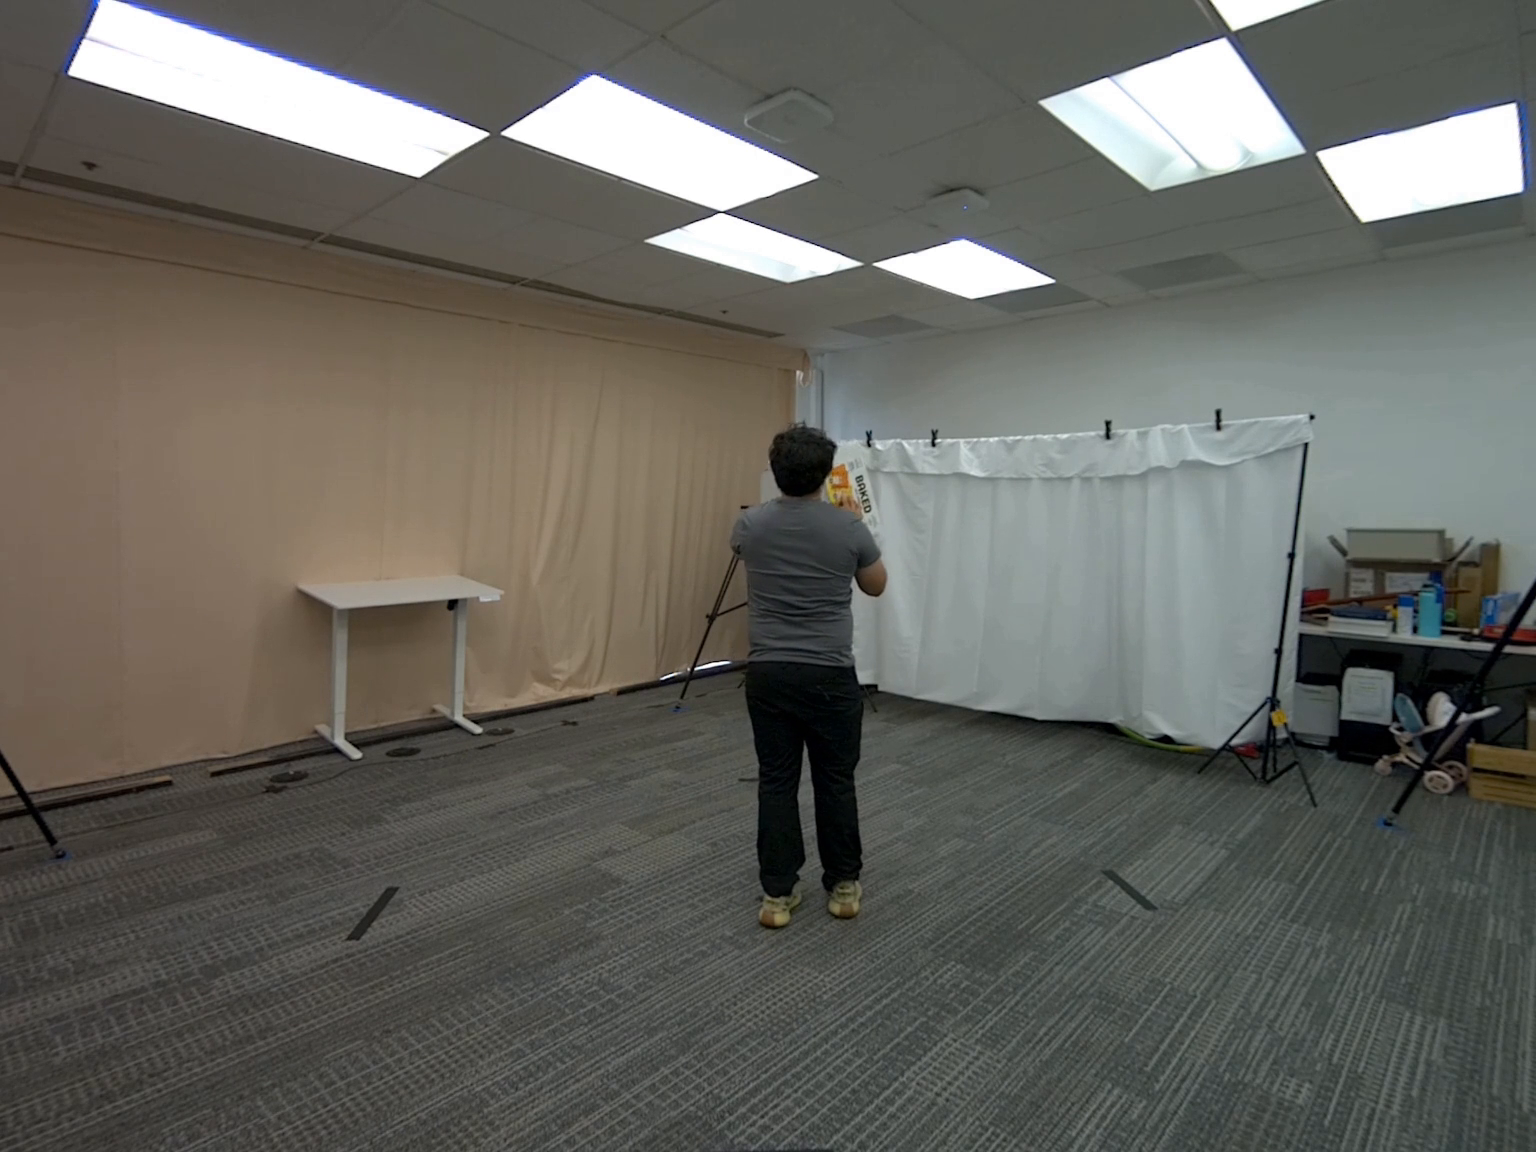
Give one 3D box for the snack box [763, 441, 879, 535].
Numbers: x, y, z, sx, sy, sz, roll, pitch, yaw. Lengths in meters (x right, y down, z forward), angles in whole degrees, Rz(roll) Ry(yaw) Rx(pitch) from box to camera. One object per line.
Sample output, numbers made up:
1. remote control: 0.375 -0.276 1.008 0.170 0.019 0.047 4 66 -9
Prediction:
1. snack box: 0.227 -0.296 3.295 0.202 0.401 0.350 -23 14 -29
